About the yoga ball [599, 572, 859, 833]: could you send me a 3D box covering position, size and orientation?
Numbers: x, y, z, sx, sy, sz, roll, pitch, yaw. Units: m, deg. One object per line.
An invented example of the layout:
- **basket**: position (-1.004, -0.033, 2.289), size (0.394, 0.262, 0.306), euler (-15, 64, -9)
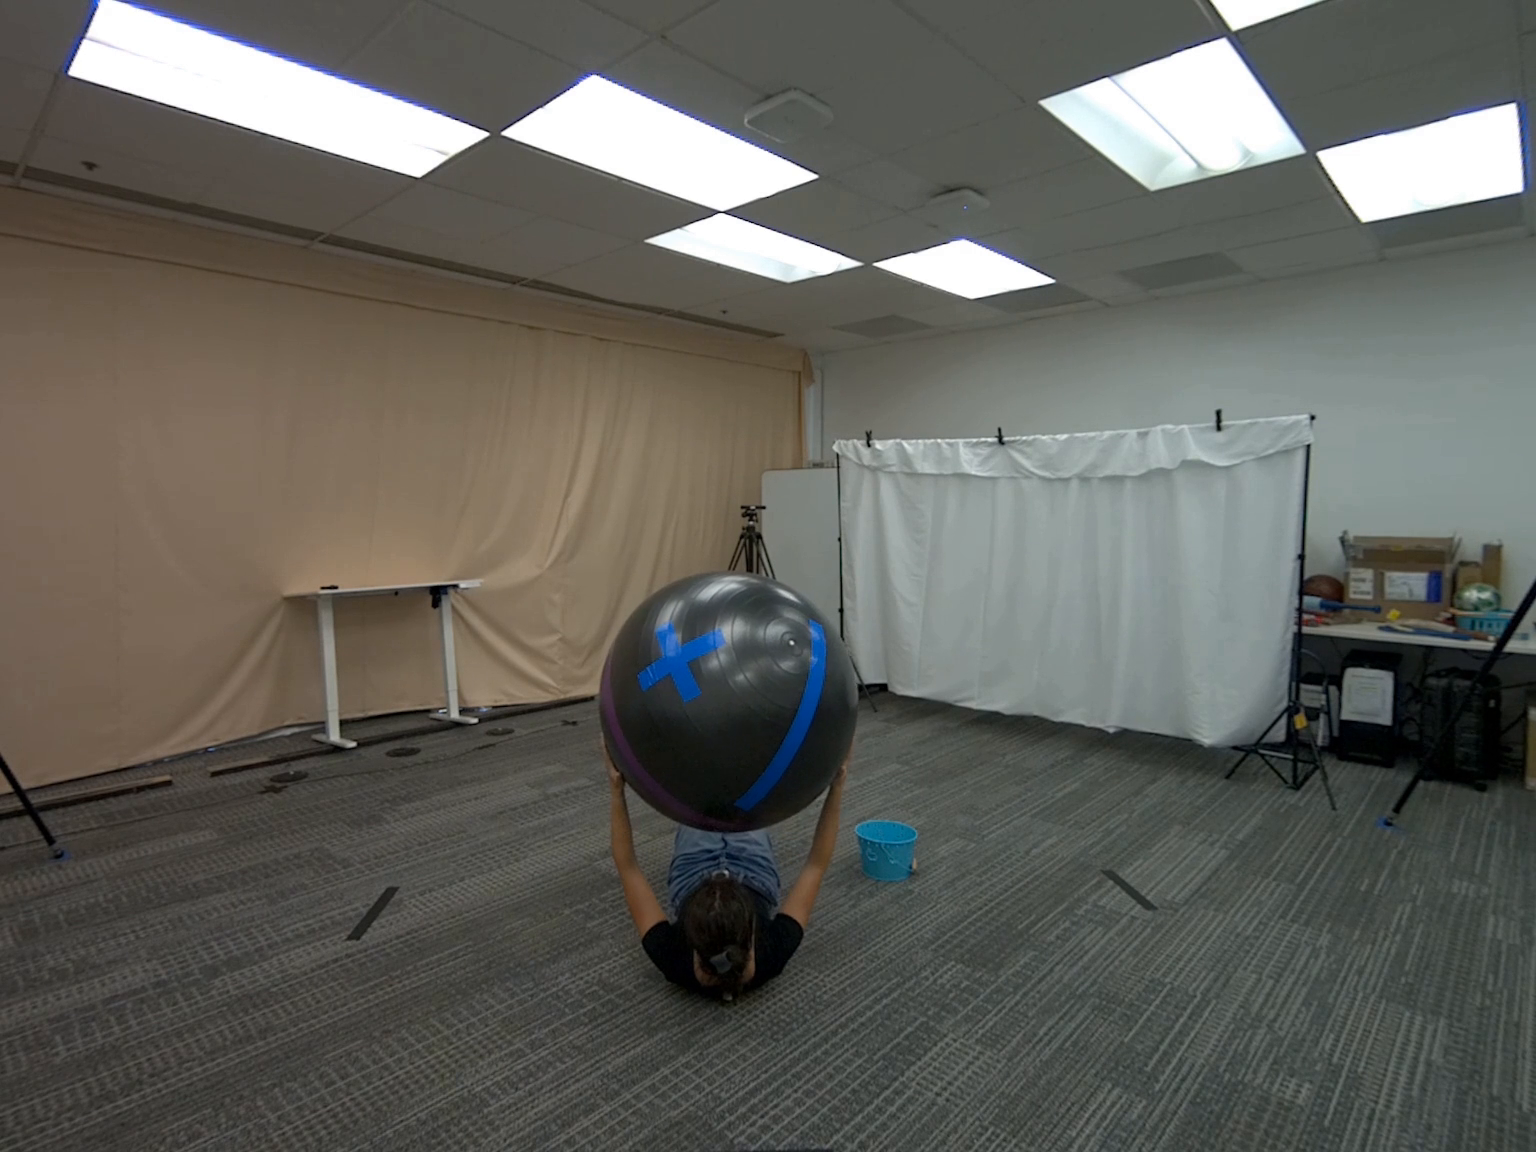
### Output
- **yoga ball**: position (-0.115, 0.369, 2.495), size (0.757, 0.756, 0.760), euler (0, 4, -2)
